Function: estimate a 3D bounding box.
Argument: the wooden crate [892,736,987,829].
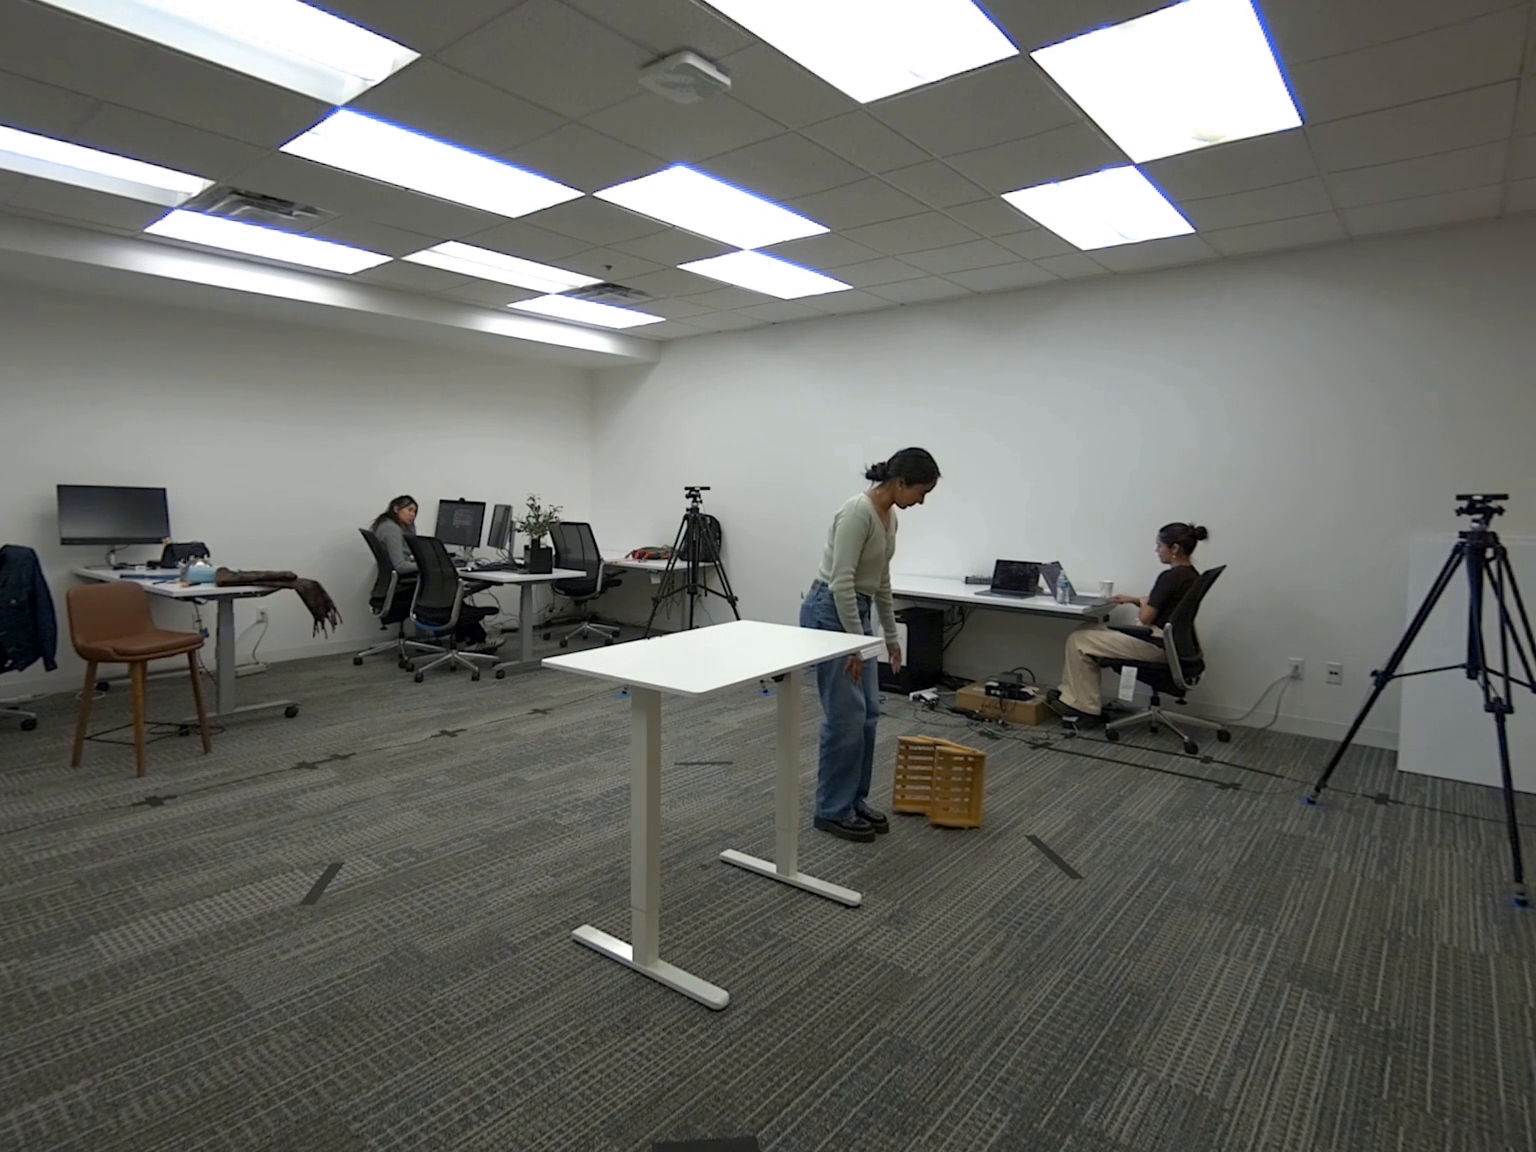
[{"bbox_3d":[0.716,0.868,3.619,0.296,0.325,0.279,6,-1,-20],"label":"wooden crate"}]
